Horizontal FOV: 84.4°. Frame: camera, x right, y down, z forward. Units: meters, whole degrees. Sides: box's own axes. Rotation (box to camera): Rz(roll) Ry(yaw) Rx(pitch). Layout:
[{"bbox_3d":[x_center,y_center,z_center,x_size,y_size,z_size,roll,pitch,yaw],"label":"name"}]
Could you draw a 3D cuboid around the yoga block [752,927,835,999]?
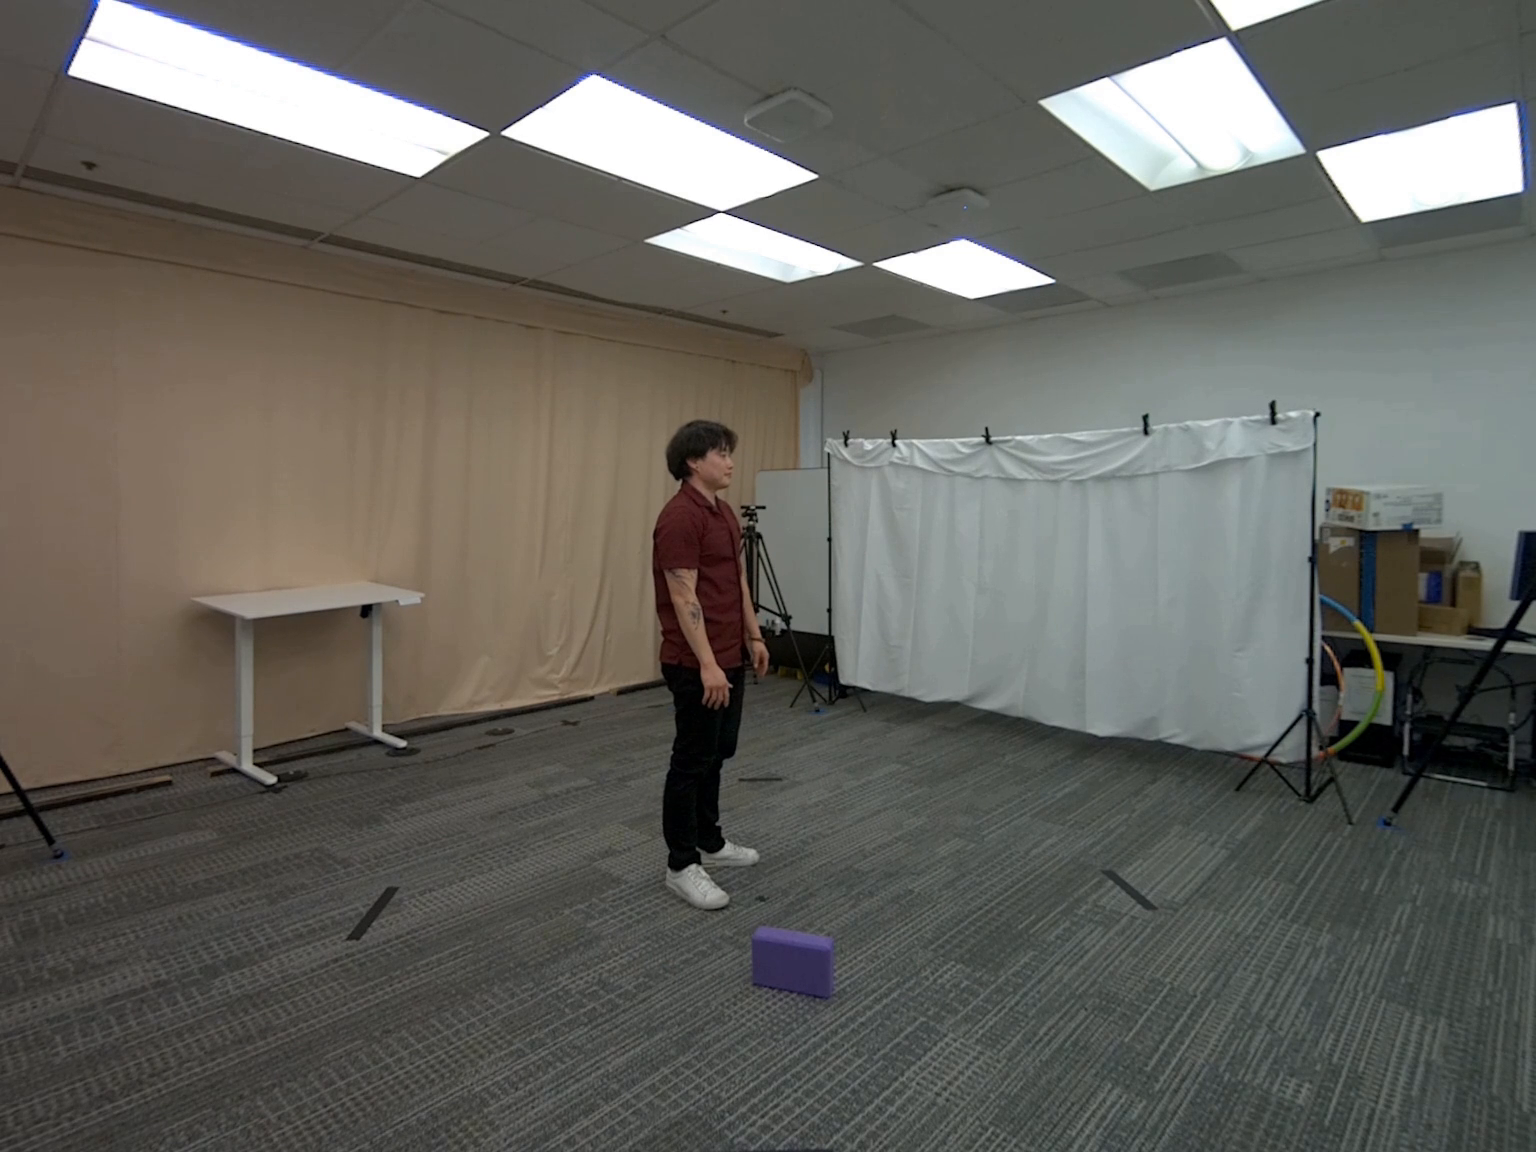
[{"bbox_3d":[0.078,1.112,2.435,0.234,0.149,0.075,1,3,19],"label":"yoga block"}]
